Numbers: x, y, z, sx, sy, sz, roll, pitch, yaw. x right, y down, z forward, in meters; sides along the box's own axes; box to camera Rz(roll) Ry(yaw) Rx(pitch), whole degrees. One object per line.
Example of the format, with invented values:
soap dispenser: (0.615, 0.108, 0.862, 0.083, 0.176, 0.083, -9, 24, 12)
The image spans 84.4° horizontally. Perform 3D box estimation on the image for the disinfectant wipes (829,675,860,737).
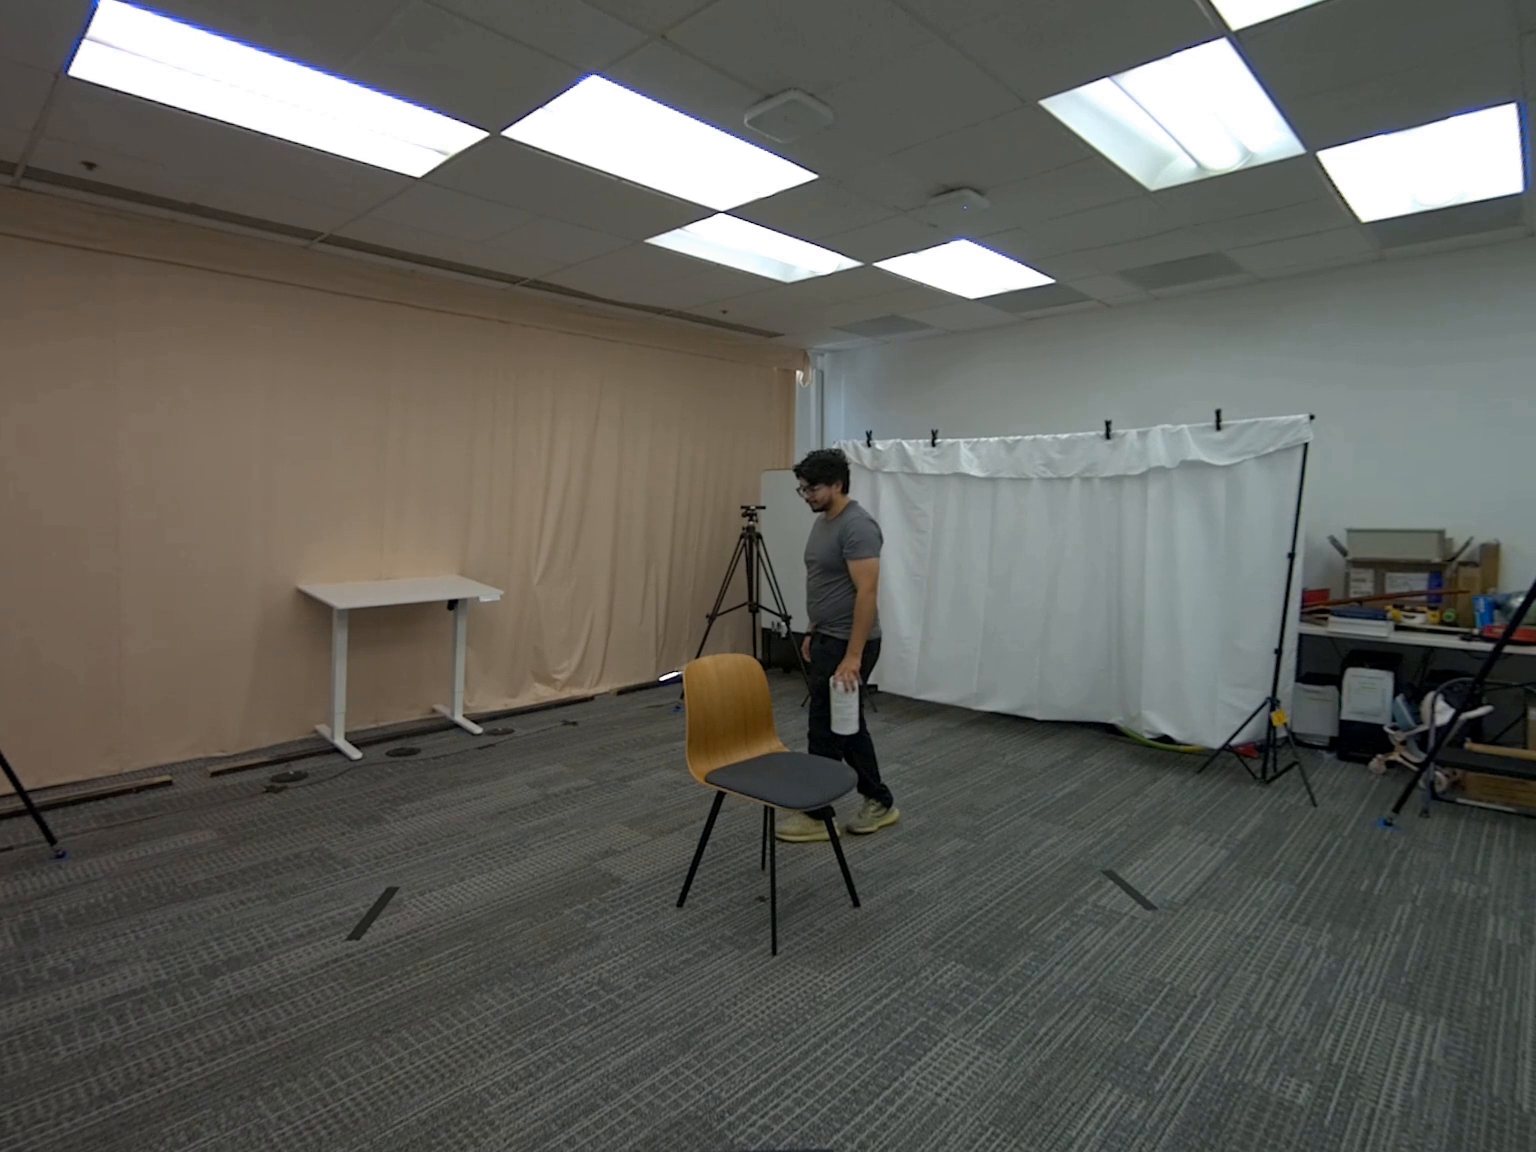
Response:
disinfectant wipes: (0.304, 0.498, 3.305, 0.118, 0.216, 0.119, -3, 12, -1)
